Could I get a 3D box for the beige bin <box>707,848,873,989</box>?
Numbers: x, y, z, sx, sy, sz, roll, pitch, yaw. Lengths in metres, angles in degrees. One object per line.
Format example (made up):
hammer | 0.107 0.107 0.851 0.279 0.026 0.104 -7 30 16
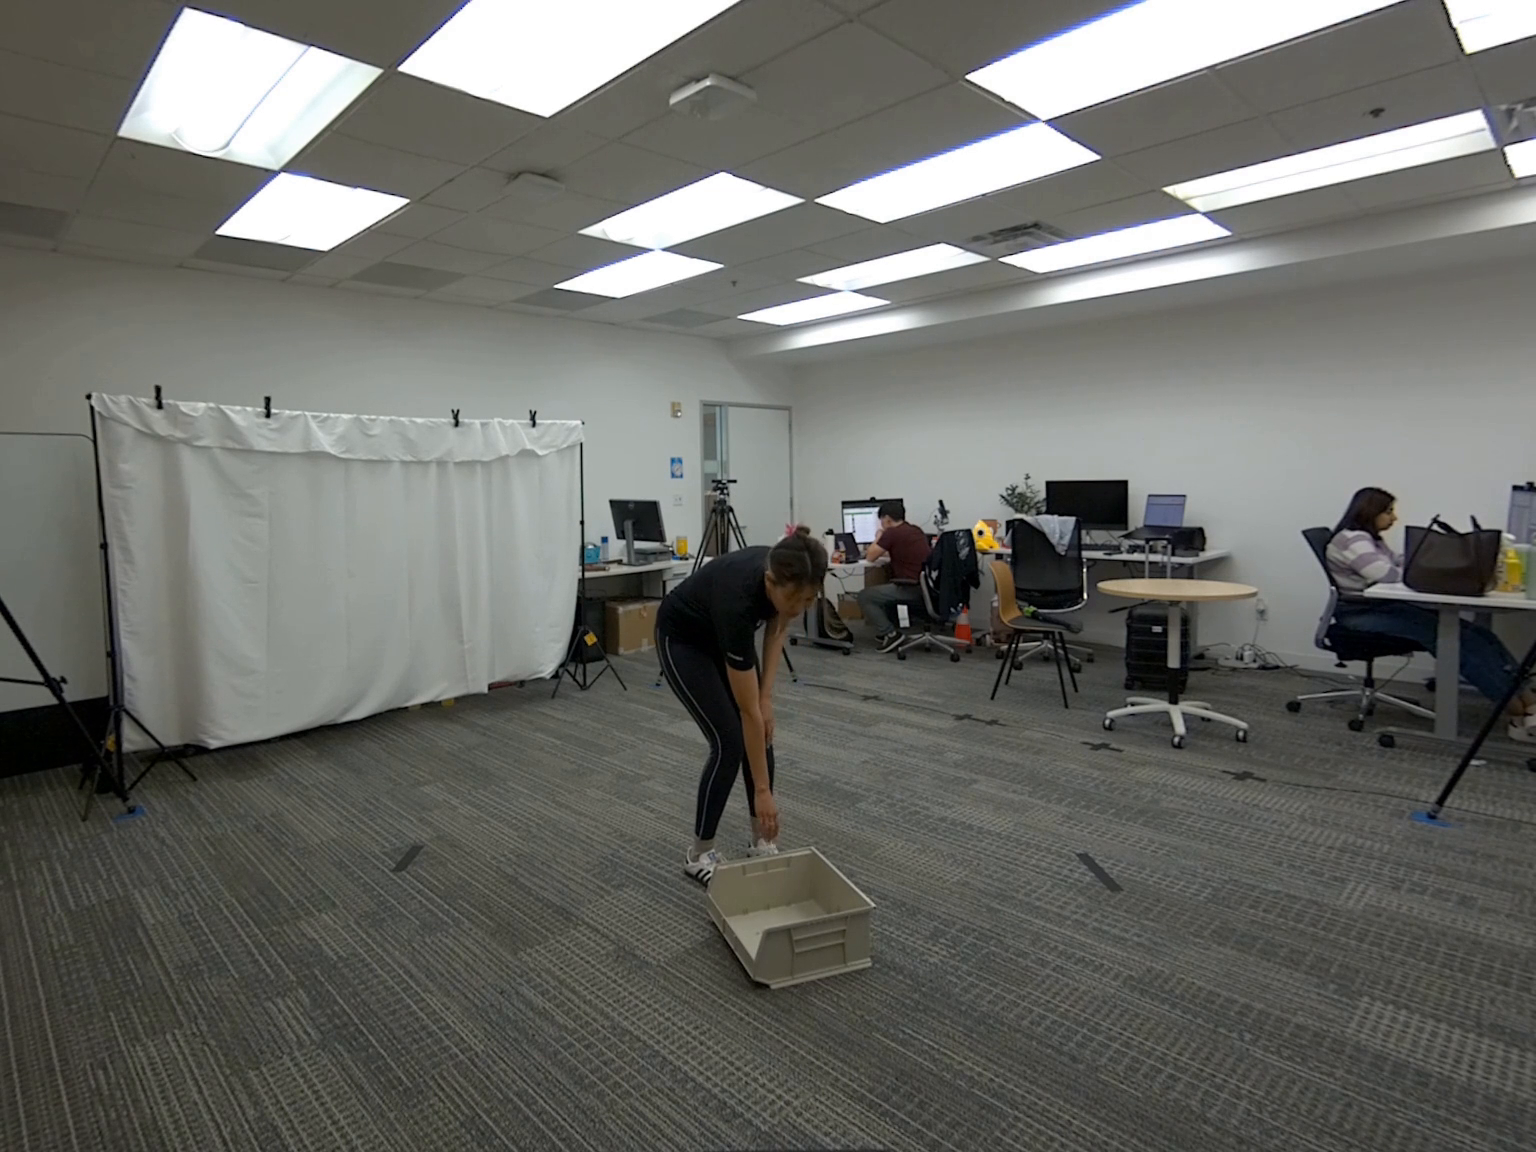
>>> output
beige bin | 0.063 1.016 2.570 0.370 0.188 0.431 -2 5 -21
